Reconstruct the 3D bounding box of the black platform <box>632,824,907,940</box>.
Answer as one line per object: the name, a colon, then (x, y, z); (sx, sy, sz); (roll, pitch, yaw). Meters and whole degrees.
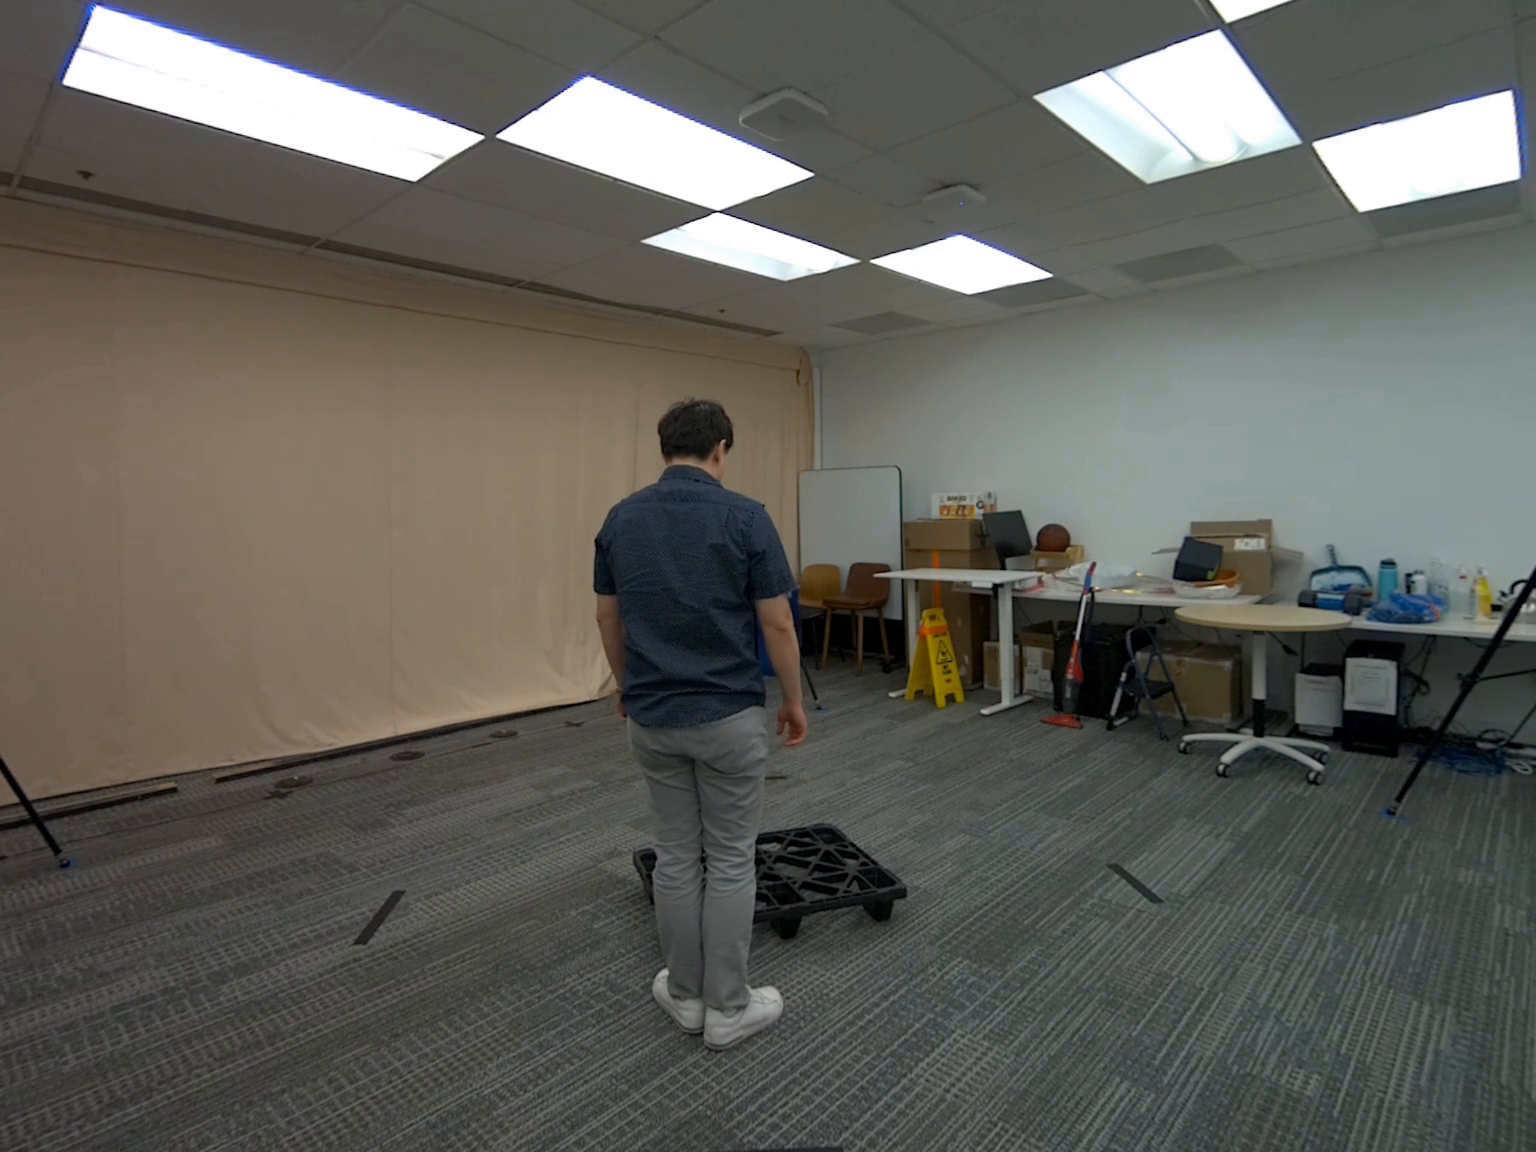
black platform: (-0.018, 1.075, 2.918); (0.790, 0.143, 0.618); (-2, 4, -19)
